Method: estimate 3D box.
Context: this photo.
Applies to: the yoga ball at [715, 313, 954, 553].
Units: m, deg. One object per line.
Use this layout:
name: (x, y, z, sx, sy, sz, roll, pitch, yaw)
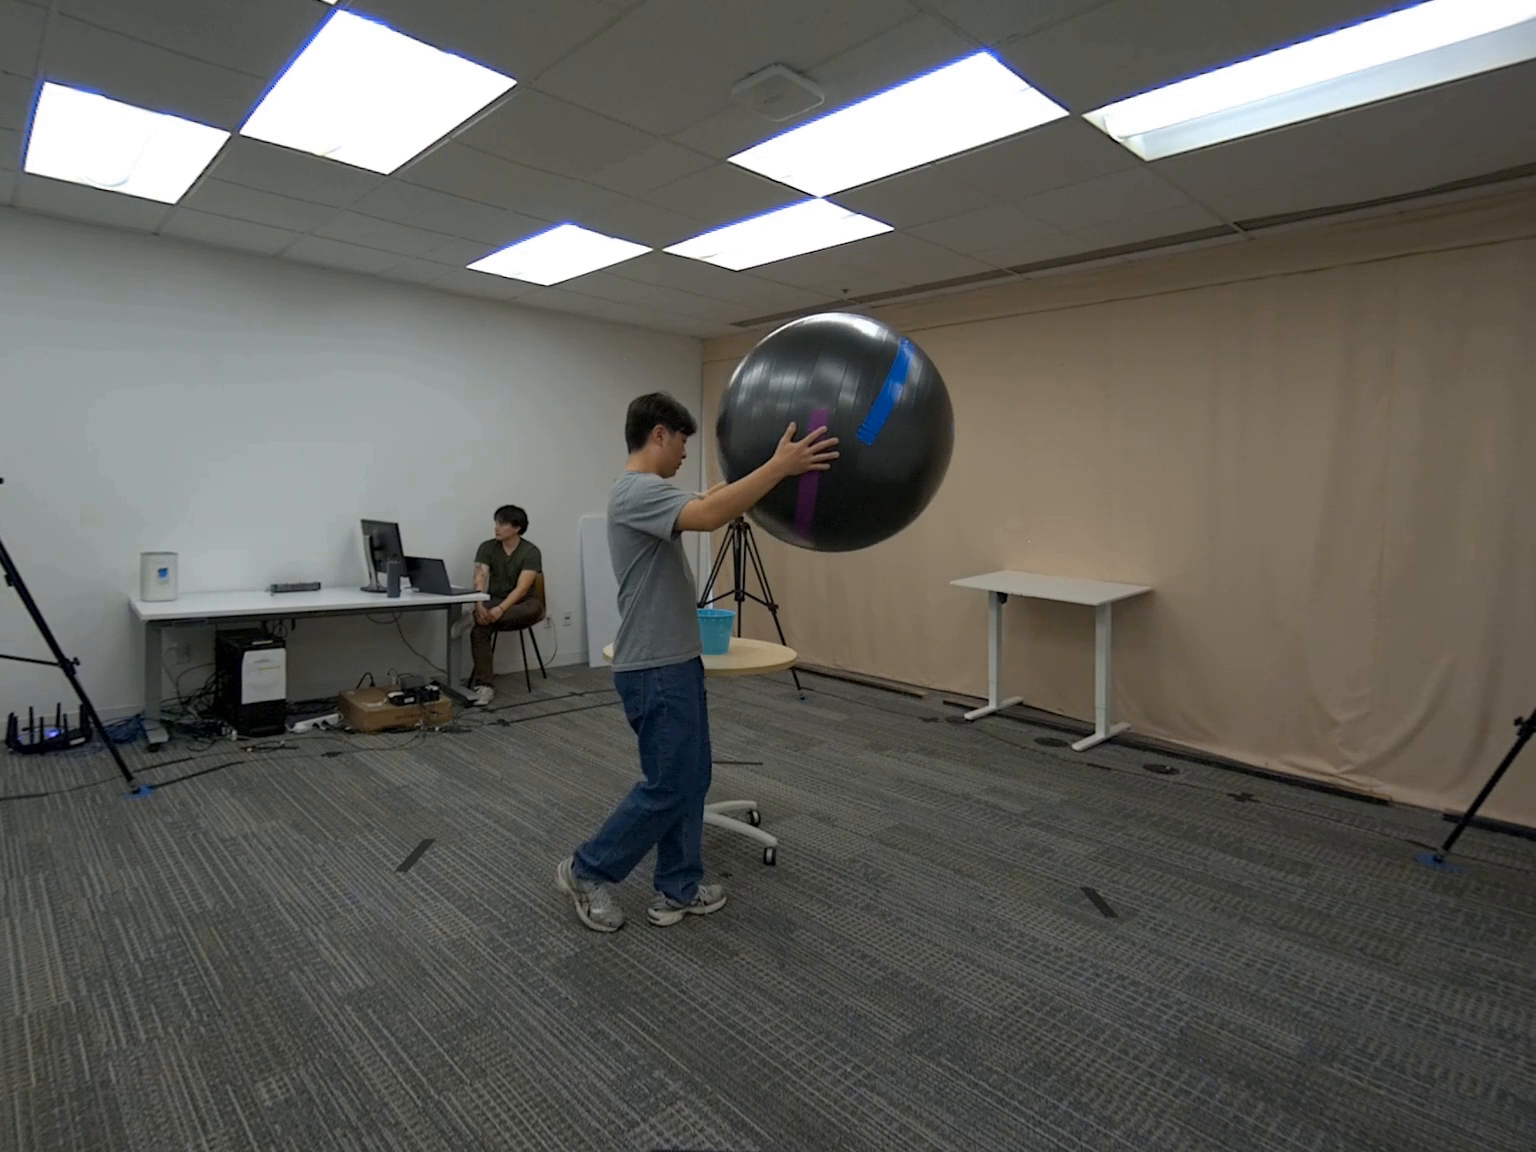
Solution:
yoga ball: (0.207, -0.451, 2.714, 0.757, 0.756, 0.761, 1, 4, -1)
